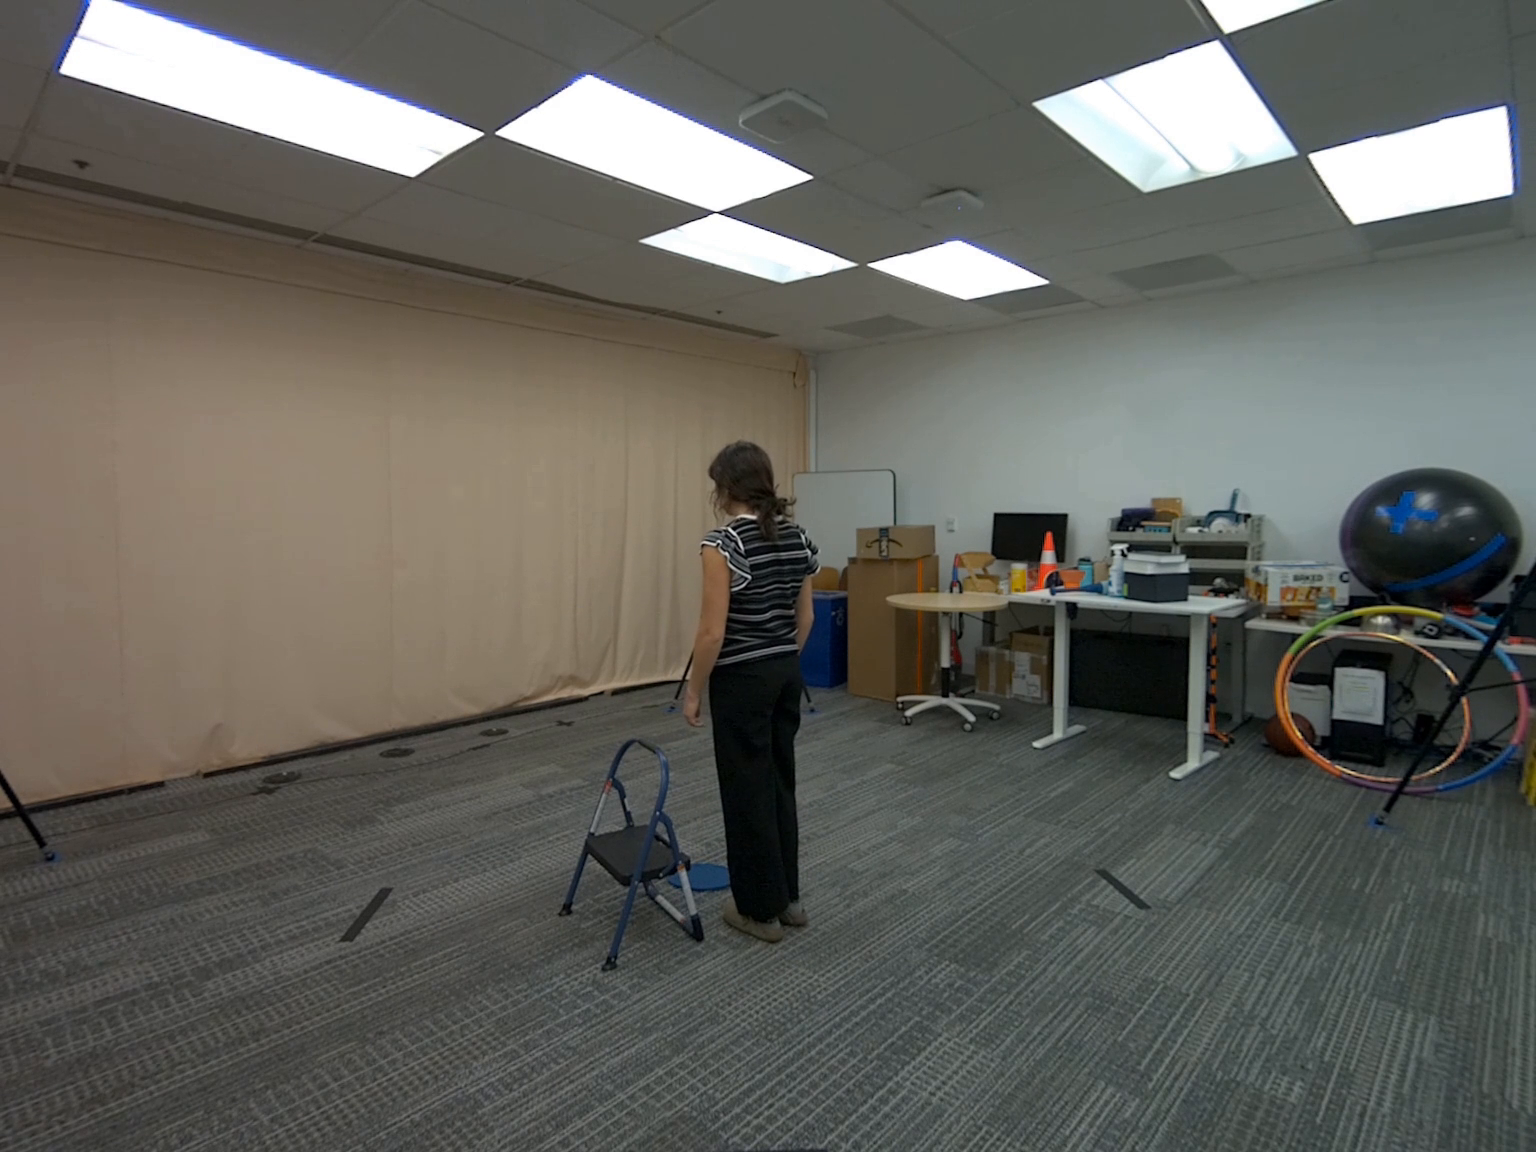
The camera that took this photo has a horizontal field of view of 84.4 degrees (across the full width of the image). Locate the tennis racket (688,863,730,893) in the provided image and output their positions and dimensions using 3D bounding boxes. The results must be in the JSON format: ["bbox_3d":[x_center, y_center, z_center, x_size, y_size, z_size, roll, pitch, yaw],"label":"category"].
[{"bbox_3d":[-0.165,1.115,3.119,0.440,0.032,0.211,-1,5,14],"label":"tennis racket"}]
